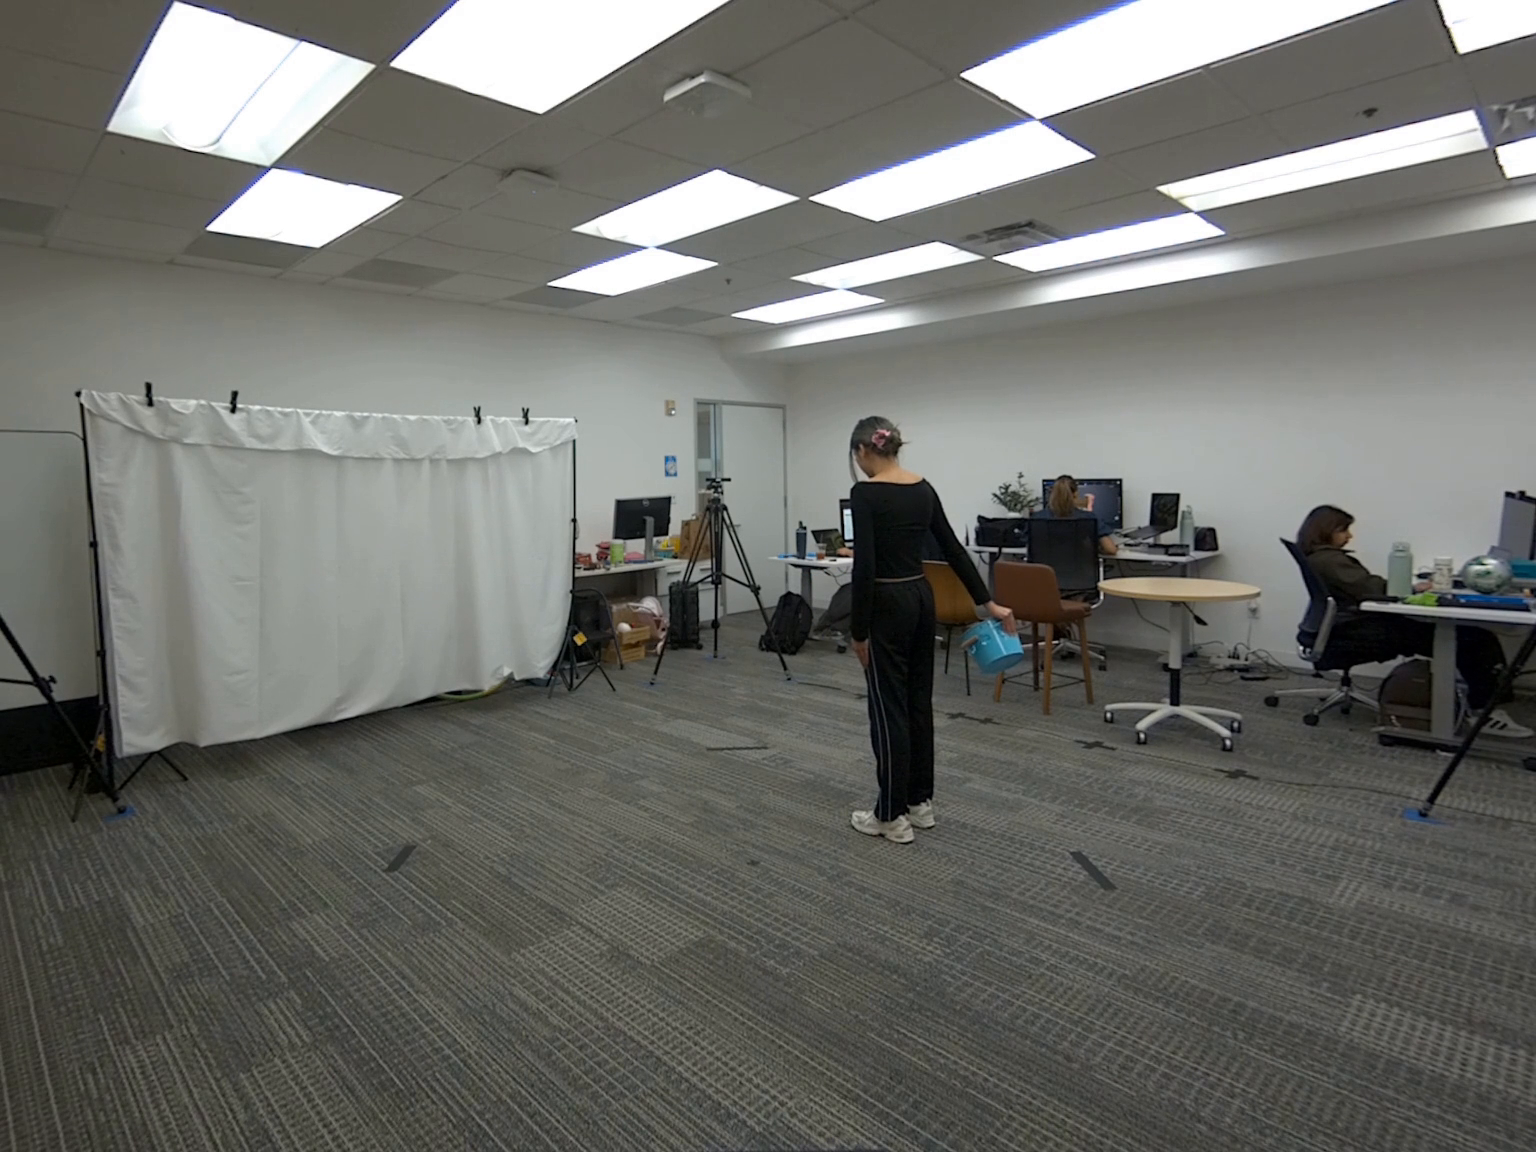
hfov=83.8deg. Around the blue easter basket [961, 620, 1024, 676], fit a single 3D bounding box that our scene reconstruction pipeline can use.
[{"bbox_3d":[0.902,0.288,3.467,0.242,0.161,0.238,-11,-31,-9],"label":"blue easter basket"}]
